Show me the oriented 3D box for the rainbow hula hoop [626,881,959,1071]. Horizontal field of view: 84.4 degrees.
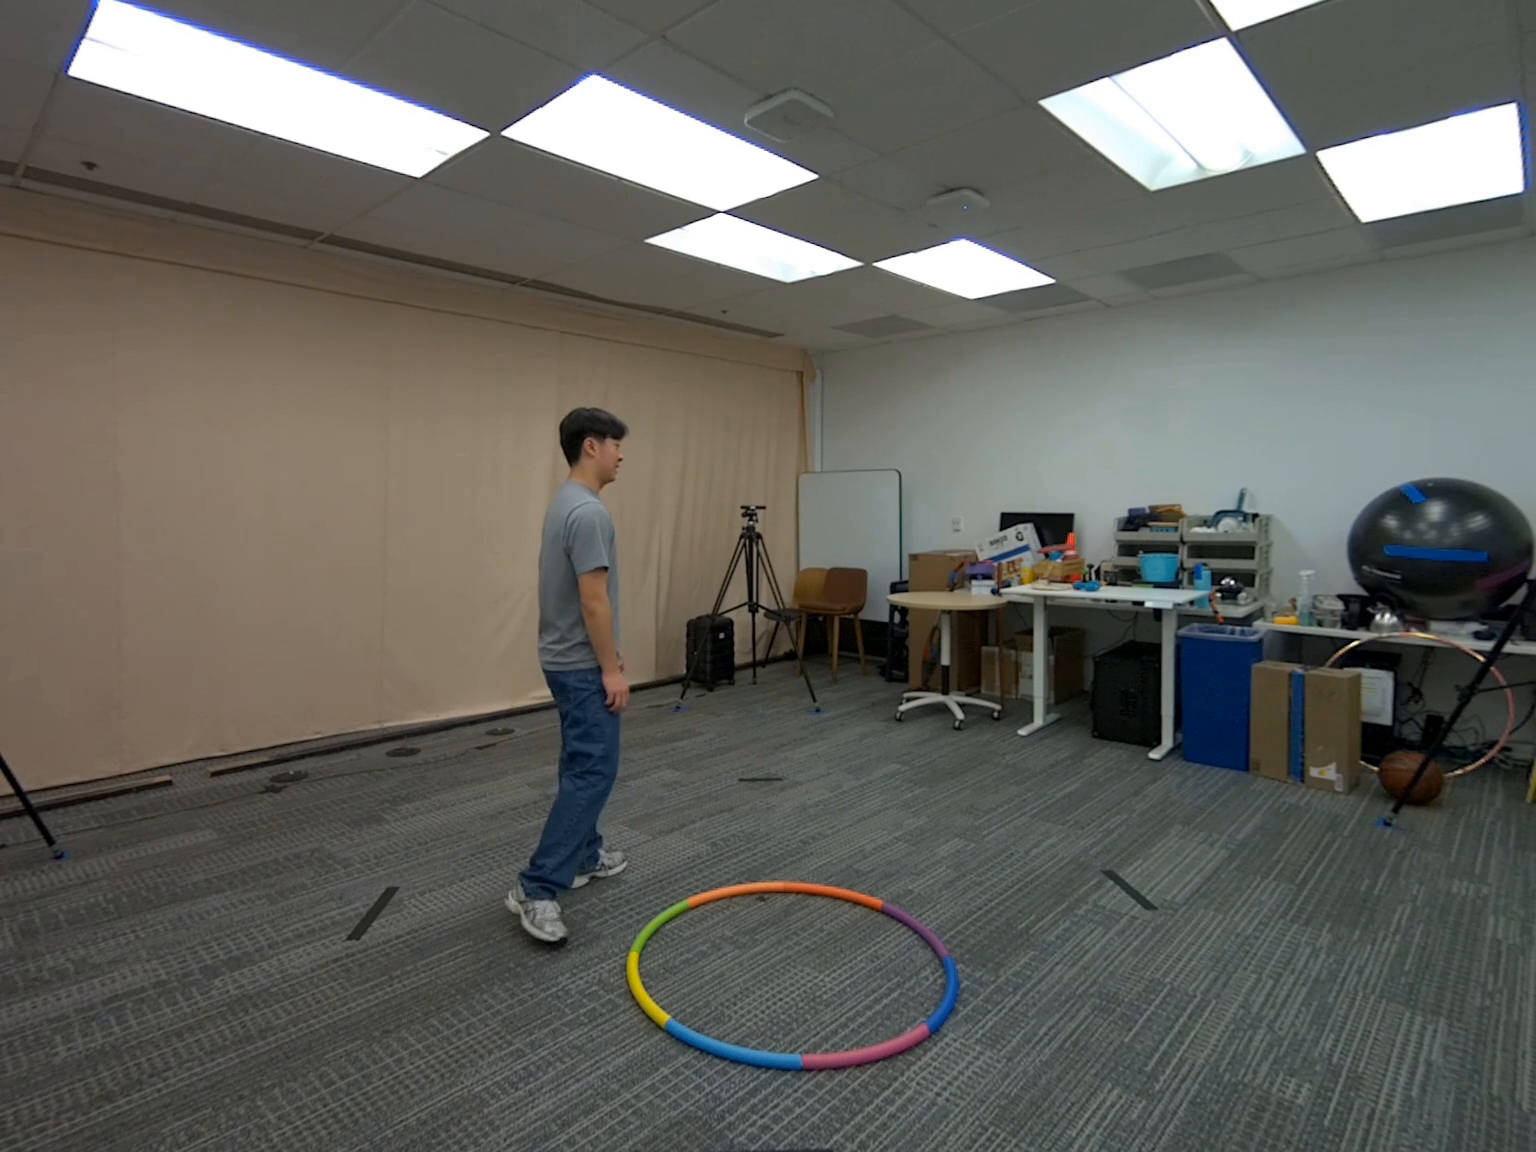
[{"bbox_3d":[0.070,1.146,2.565,0.978,0.035,0.982,0,4,-2],"label":"rainbow hula hoop"}]
